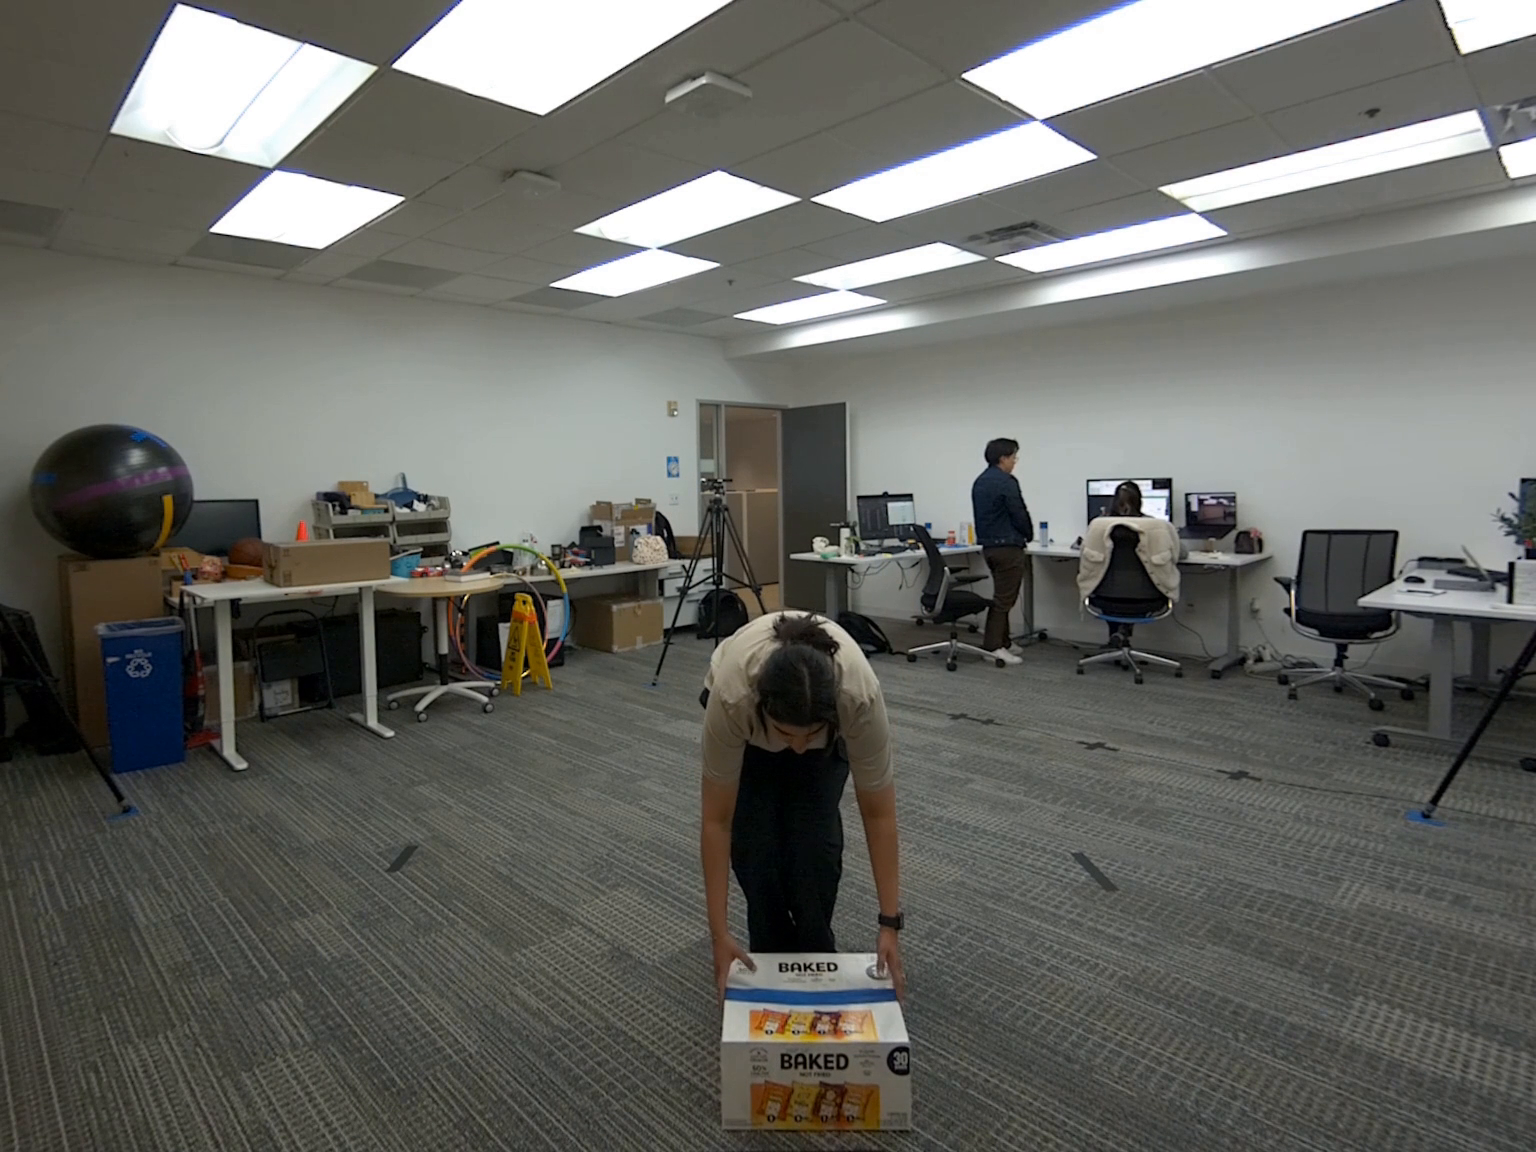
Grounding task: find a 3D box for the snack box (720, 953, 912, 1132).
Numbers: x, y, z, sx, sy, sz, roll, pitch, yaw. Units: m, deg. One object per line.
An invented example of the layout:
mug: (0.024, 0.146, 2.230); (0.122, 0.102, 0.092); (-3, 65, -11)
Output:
snack box: (0.105, 1.077, 1.989); (0.406, 0.205, 0.341); (-1, 6, 1)
